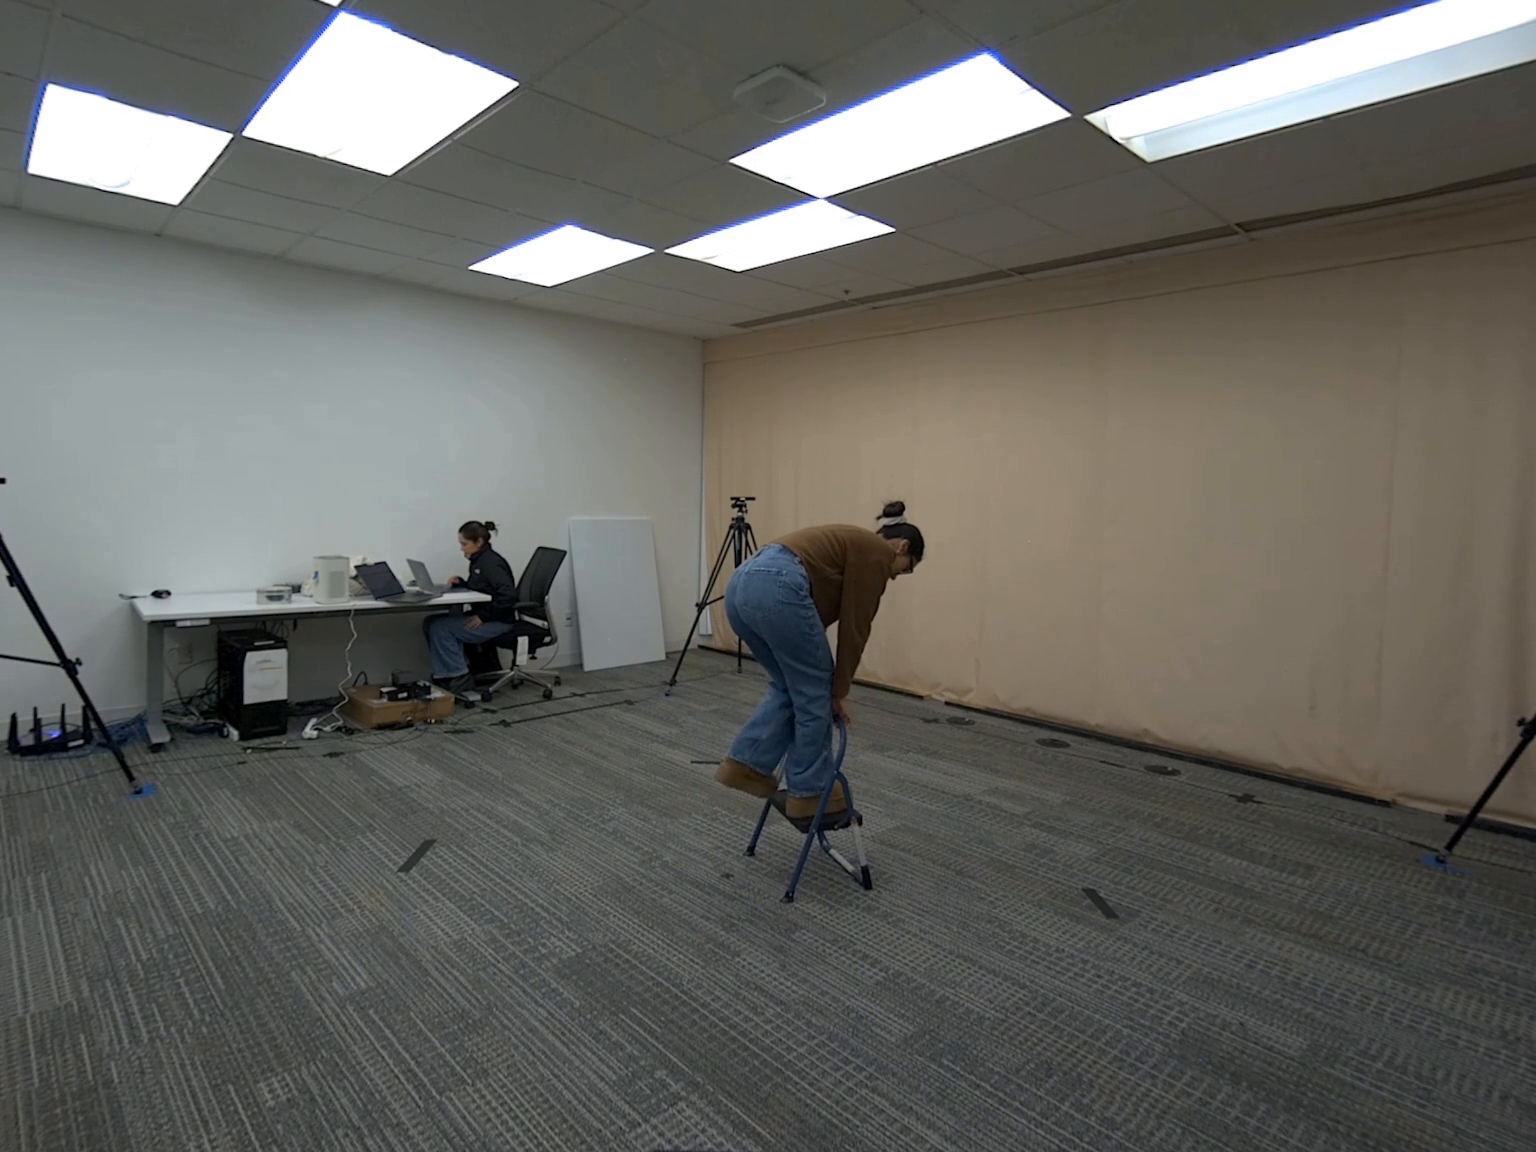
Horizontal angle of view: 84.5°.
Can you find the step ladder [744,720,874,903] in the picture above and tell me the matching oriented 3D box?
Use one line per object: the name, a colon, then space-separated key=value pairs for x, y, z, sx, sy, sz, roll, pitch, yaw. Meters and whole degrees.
step ladder: x=0.143 y=0.809 z=3.139 sx=0.344 sy=0.605 sz=0.438 roll=0 pitch=3 yaw=-21
